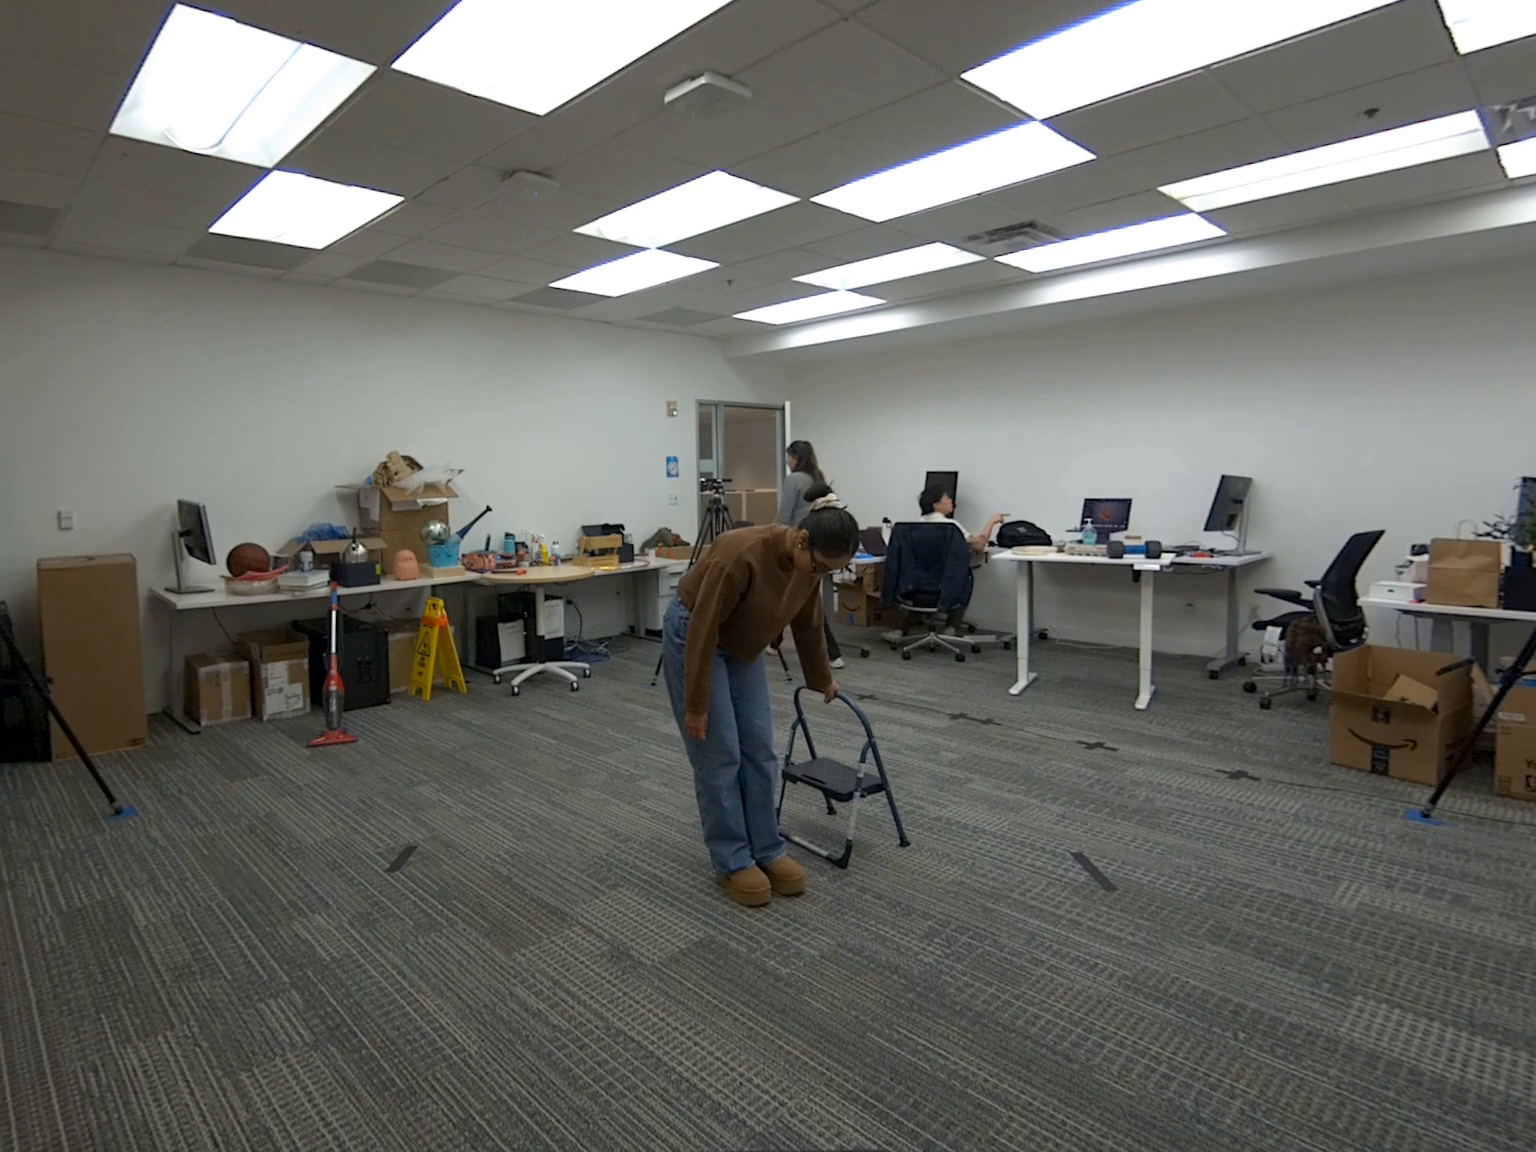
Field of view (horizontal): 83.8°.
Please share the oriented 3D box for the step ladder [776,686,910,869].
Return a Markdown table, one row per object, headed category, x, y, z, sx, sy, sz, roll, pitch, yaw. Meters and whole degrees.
| category | x | y | z | sx | sy | sz | roll | pitch | yaw |
| --- | --- | --- | --- | --- | --- | --- | --- | --- | --- |
| step ladder | 0.268 | 0.713 | 3.291 | 0.340 | 0.604 | 0.443 | -5 | 6 | -38 |
